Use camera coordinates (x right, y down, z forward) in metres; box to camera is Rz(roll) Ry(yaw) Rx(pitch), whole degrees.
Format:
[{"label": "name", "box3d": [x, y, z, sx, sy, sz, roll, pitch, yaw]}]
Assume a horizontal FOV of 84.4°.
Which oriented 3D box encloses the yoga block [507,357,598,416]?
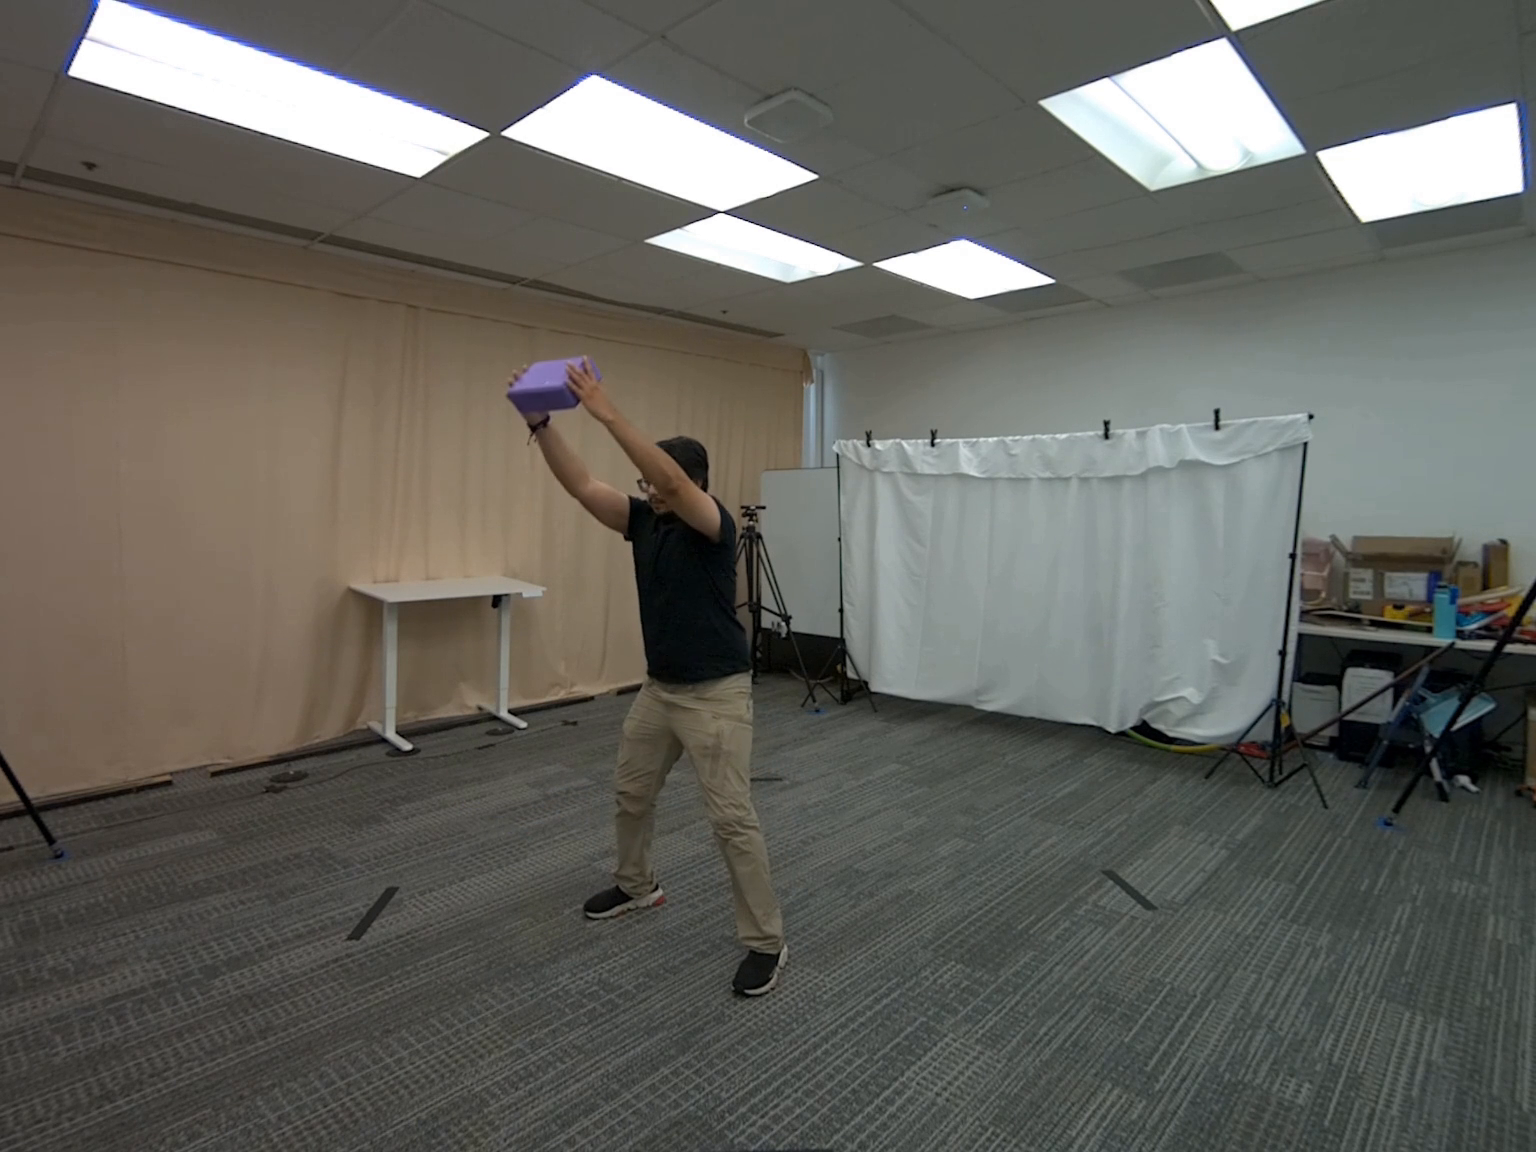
[{"label": "yoga block", "box3d": [-0.577, -0.519, 2.306, 0.237, 0.149, 0.074, 4, -40, 37]}]
